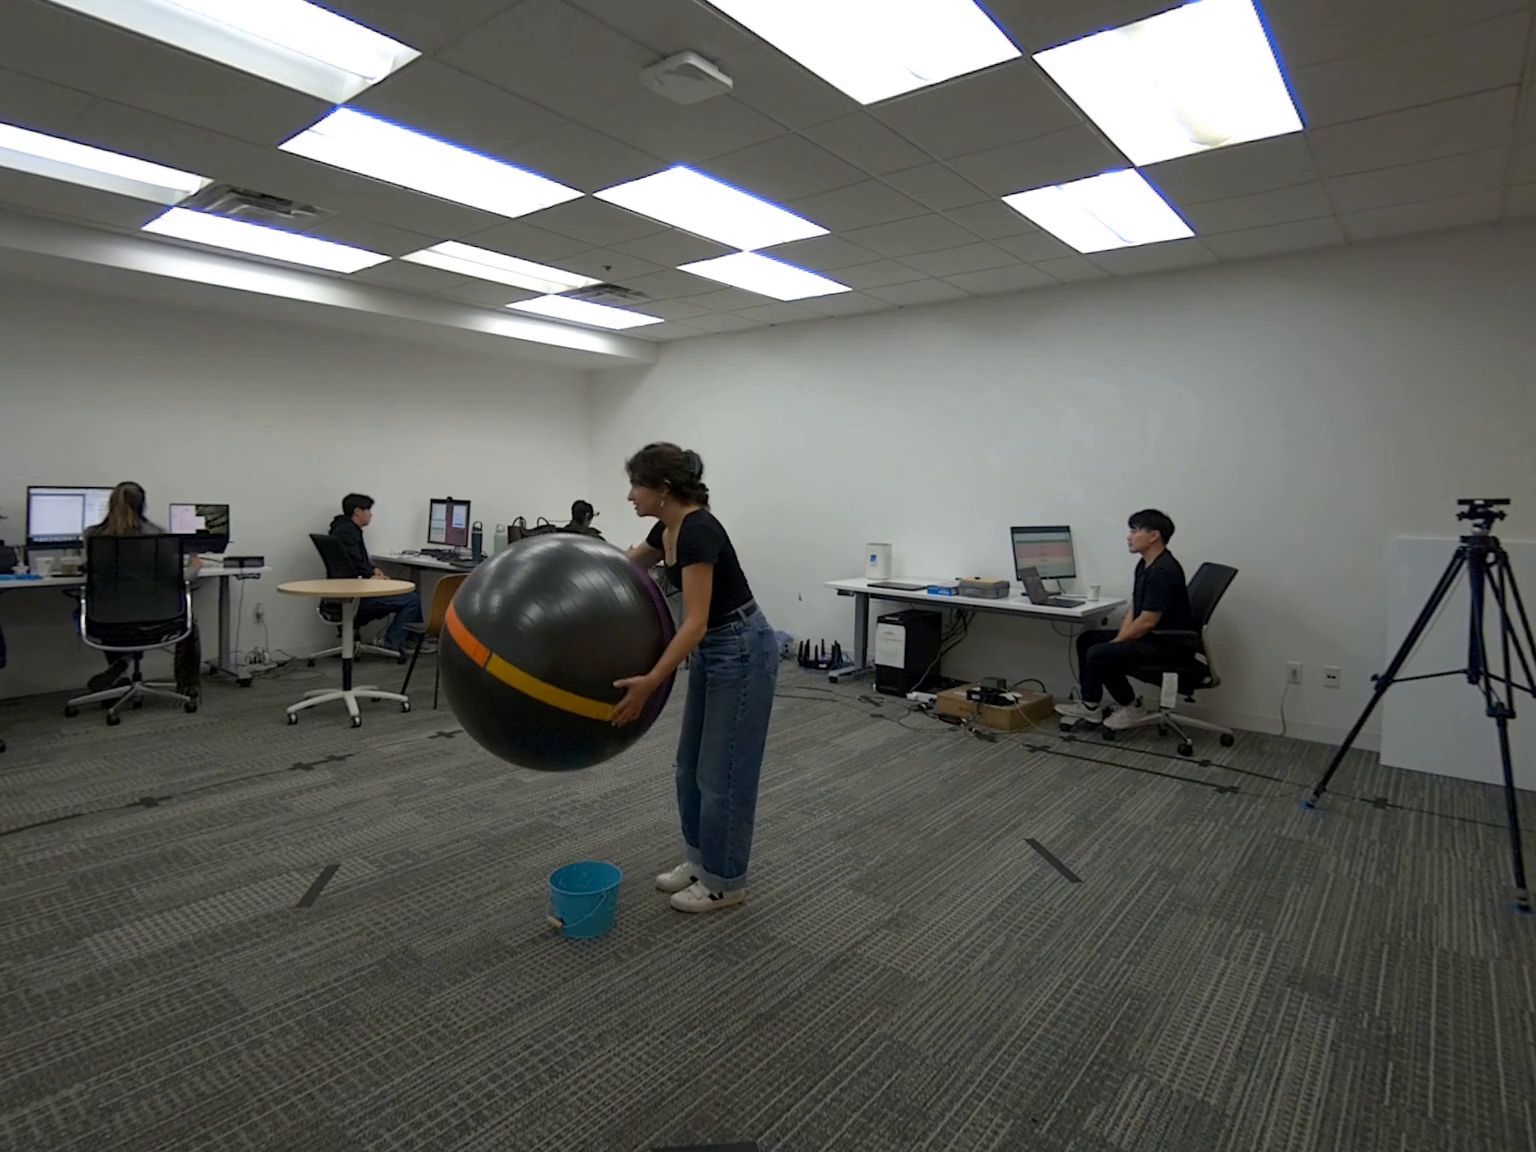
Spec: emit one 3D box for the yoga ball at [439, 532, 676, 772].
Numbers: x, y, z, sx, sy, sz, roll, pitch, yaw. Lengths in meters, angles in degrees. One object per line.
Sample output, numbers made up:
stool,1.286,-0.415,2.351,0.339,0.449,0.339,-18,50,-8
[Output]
yoga ball,-0.684,0.244,2.746,0.757,0.755,0.762,1,4,-2
